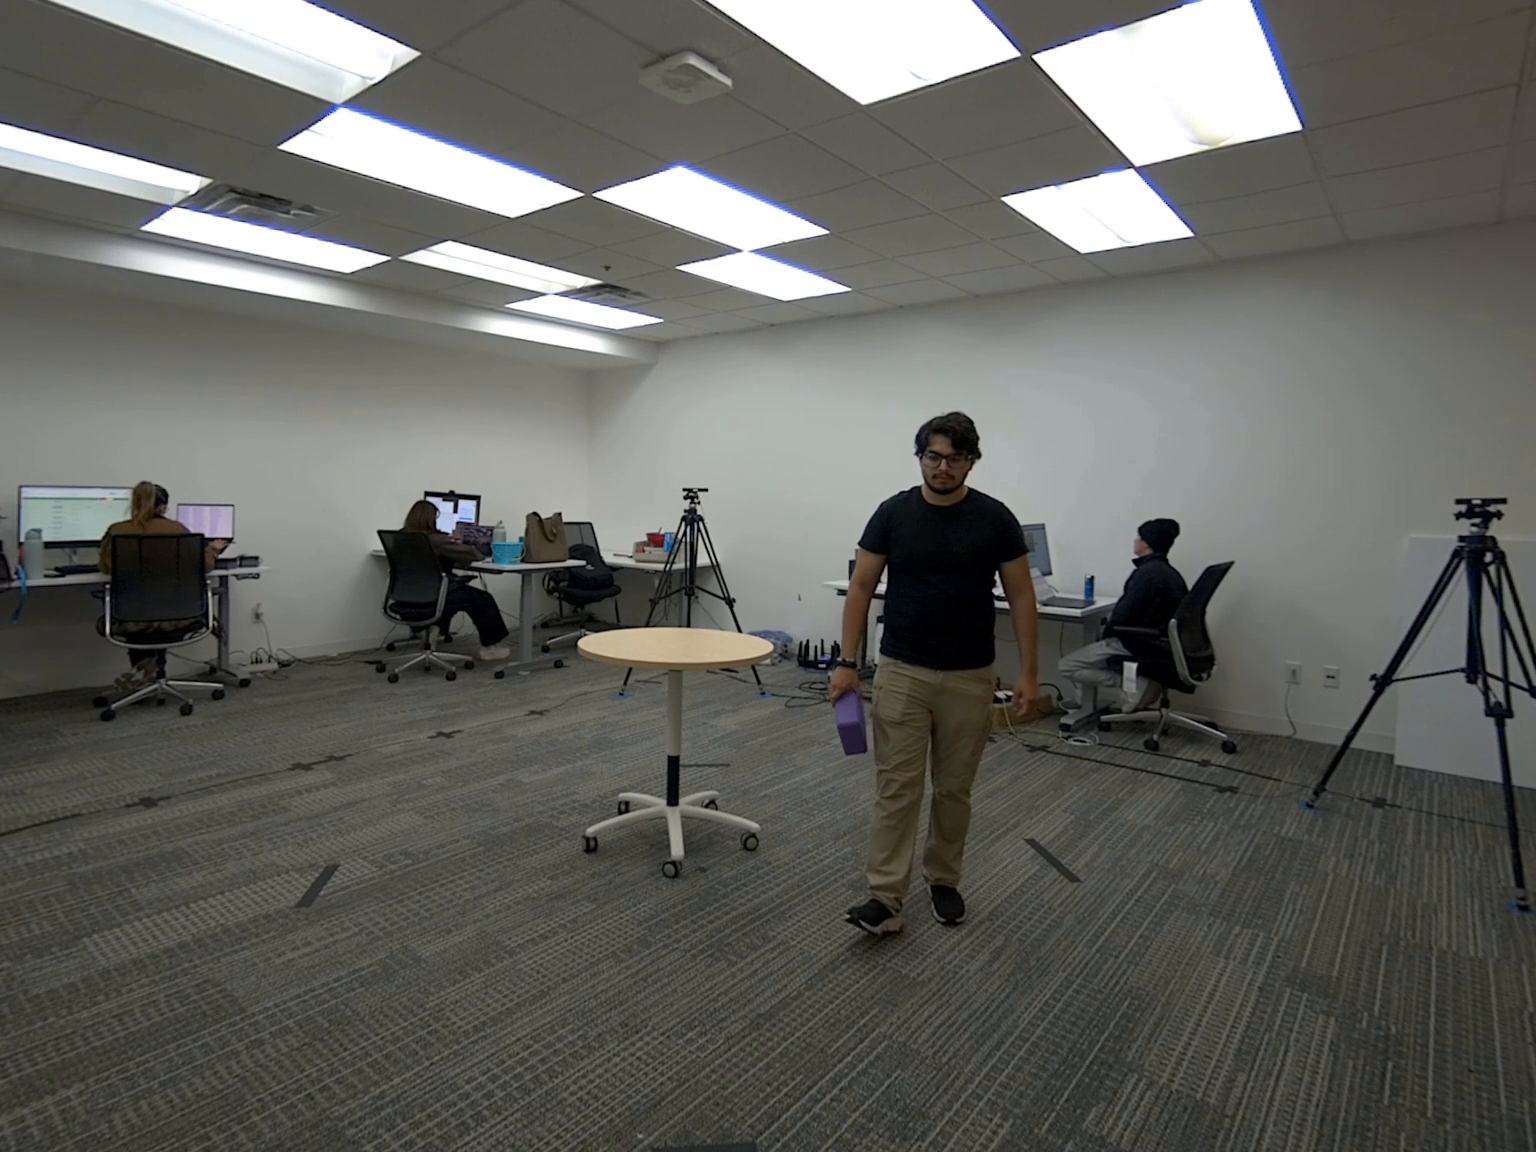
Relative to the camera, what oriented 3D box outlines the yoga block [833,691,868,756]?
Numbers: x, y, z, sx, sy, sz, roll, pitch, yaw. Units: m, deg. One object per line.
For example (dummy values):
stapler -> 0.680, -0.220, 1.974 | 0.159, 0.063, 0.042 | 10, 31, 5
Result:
yoga block -> 0.264, 0.459, 2.808 | 0.077, 0.144, 0.234 | -9, 33, 12
